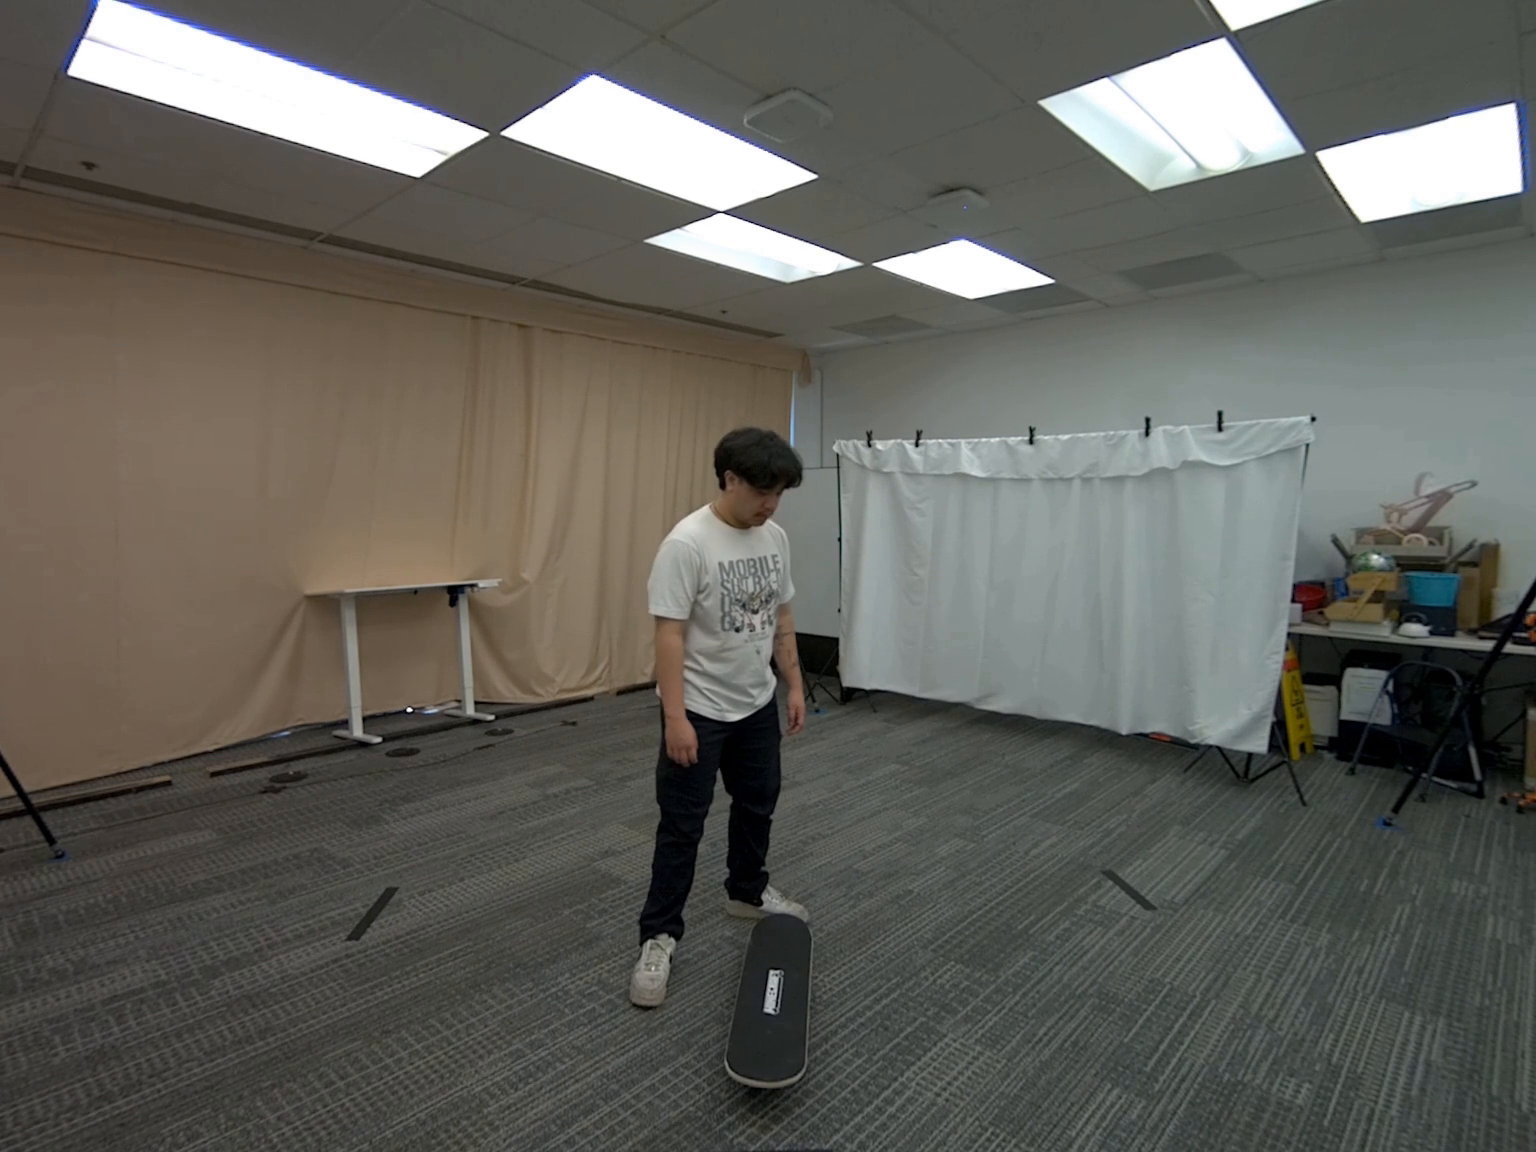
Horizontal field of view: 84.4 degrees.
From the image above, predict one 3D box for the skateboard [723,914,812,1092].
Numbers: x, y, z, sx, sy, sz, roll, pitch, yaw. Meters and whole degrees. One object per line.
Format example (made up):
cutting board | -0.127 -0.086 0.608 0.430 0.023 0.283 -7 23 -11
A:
skateboard | 0.024 1.146 2.272 0.195 0.110 0.781 2 5 5
